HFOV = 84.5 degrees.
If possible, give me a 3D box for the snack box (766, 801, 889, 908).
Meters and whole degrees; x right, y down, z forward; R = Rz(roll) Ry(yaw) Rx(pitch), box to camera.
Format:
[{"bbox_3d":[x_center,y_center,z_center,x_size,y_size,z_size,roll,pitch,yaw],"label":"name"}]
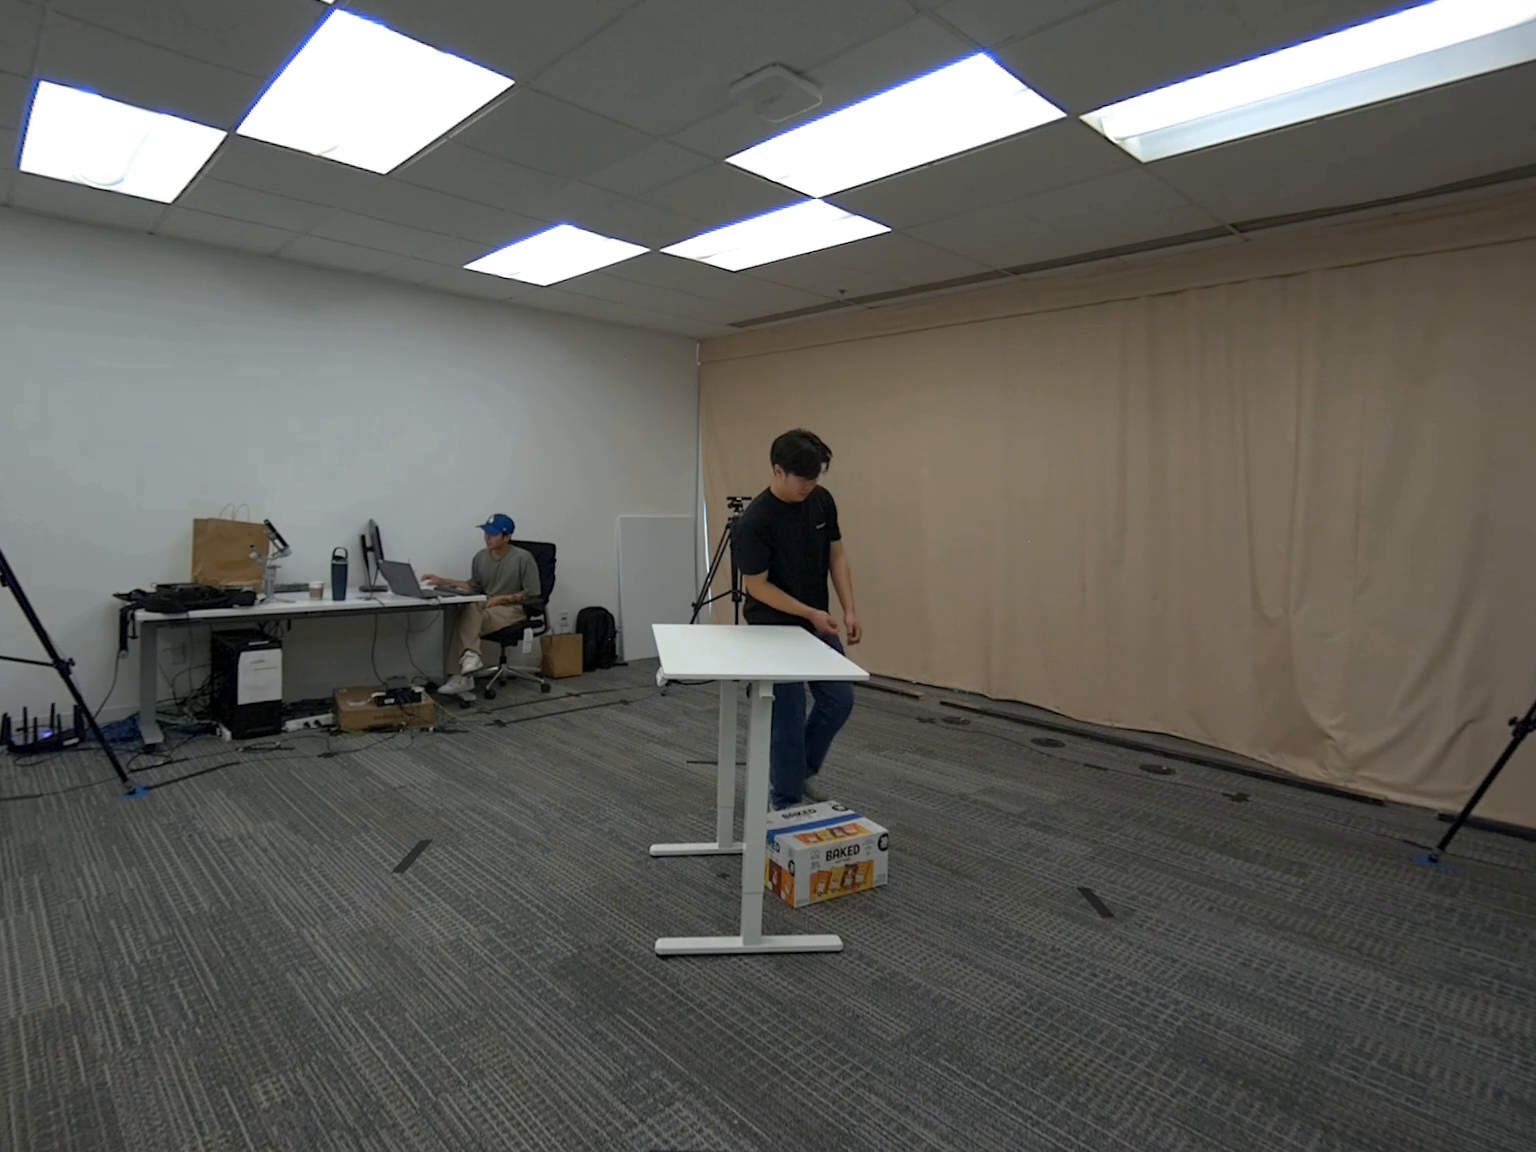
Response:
[{"bbox_3d":[0.171,1.016,3.095,0.397,0.205,0.348,-2,5,-30],"label":"snack box"}]
